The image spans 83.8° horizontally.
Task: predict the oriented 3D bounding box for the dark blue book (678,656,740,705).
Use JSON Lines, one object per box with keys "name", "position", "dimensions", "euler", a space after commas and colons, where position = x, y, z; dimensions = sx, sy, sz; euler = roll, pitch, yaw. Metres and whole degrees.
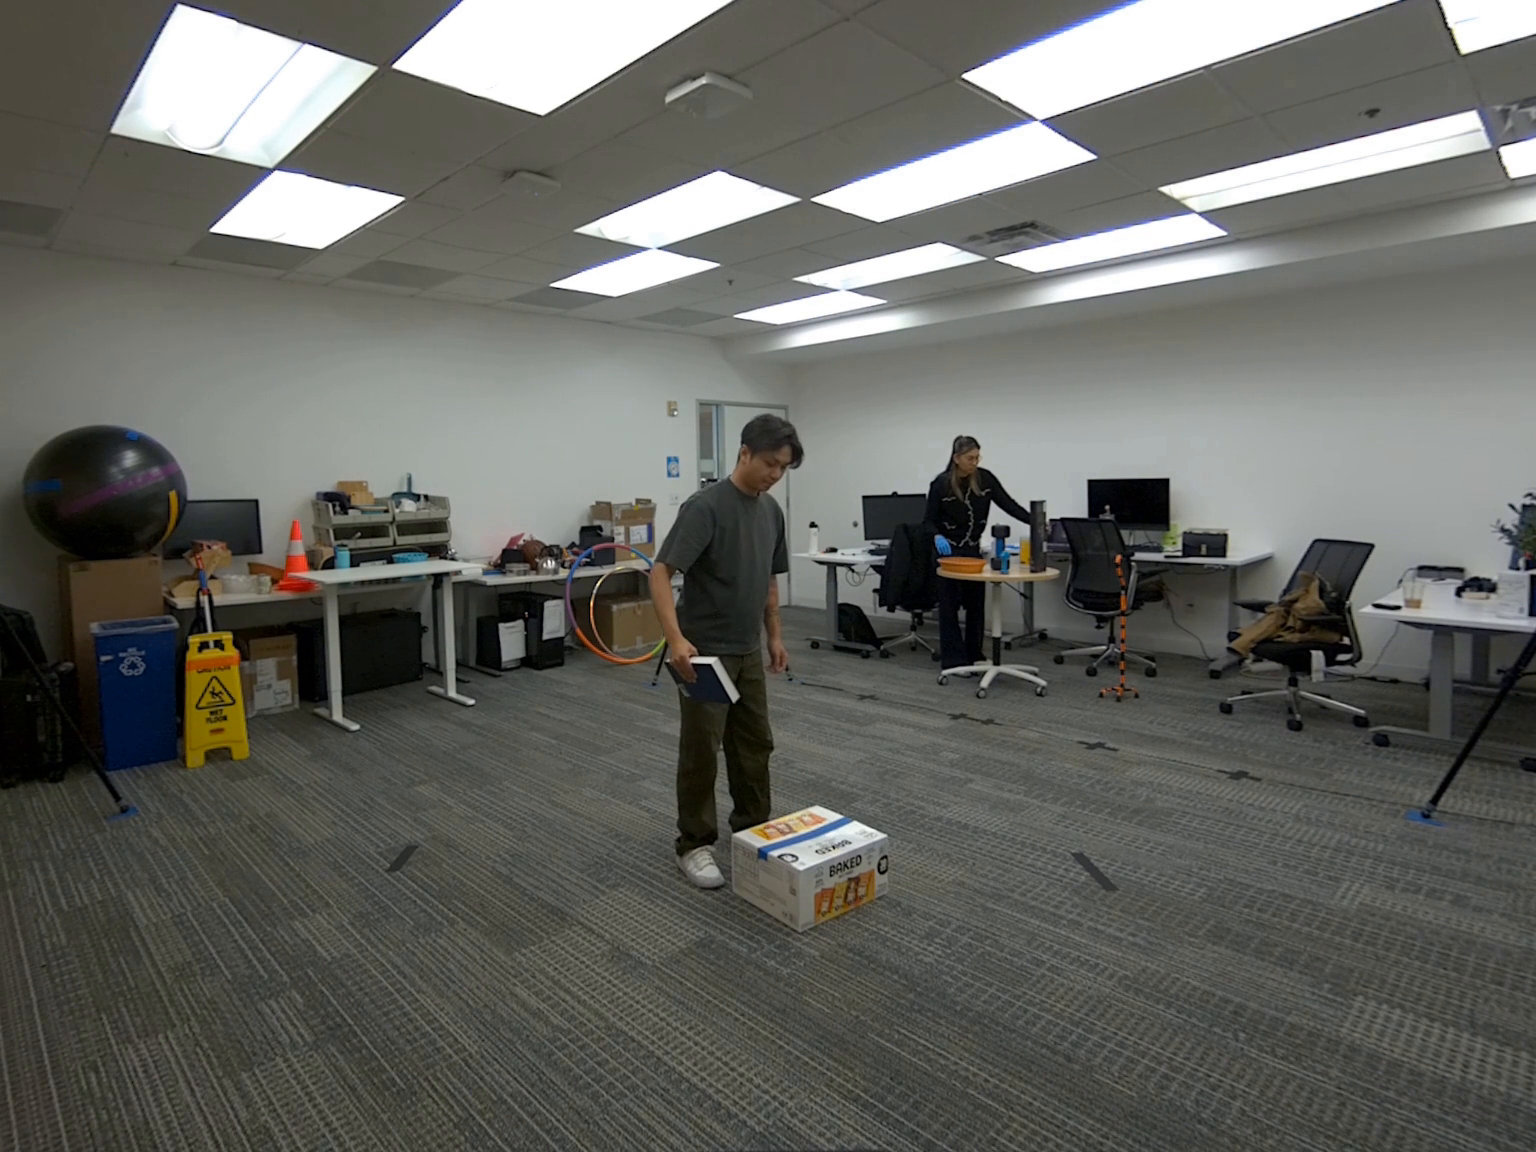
{"name": "dark blue book", "position": [-0.214, 0.340, 2.769], "dimensions": [0.251, 0.160, 0.045], "euler": [-5, 28, 48]}
